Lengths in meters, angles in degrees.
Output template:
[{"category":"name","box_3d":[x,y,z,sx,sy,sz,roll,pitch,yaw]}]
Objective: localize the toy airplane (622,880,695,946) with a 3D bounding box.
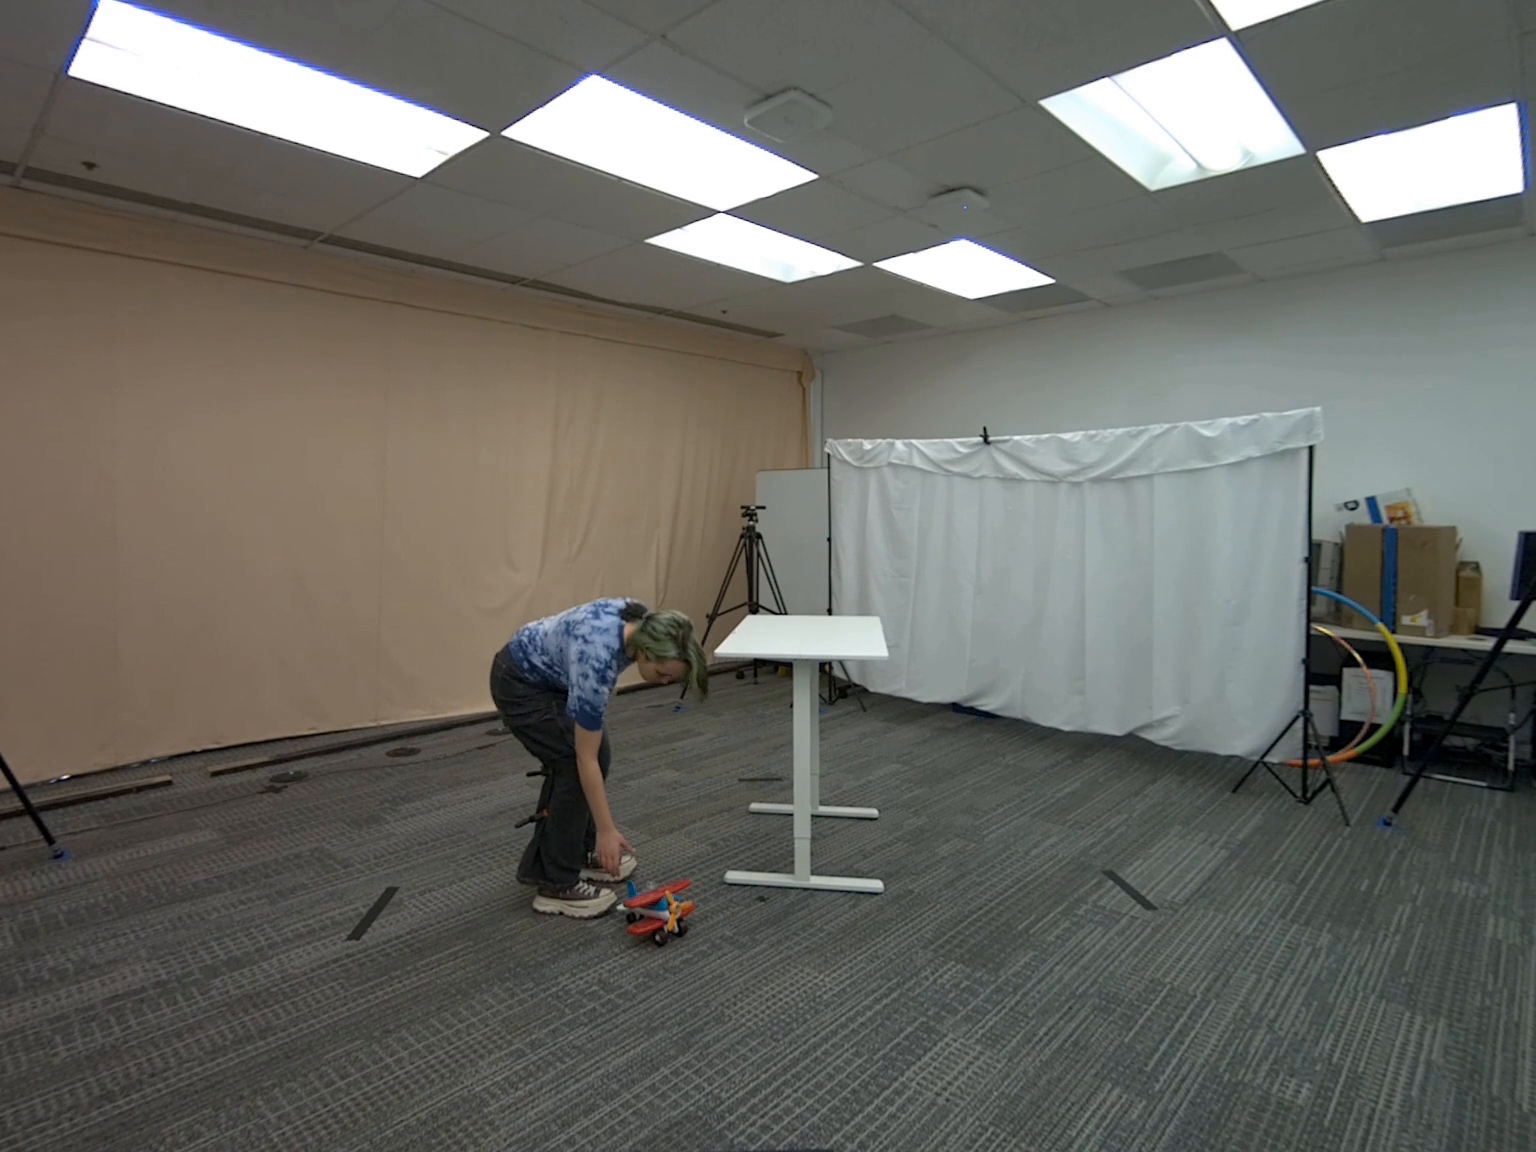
[{"category":"toy airplane","box_3d":[-0.388,1.093,2.742,0.264,0.156,0.247,3,5,17]}]
